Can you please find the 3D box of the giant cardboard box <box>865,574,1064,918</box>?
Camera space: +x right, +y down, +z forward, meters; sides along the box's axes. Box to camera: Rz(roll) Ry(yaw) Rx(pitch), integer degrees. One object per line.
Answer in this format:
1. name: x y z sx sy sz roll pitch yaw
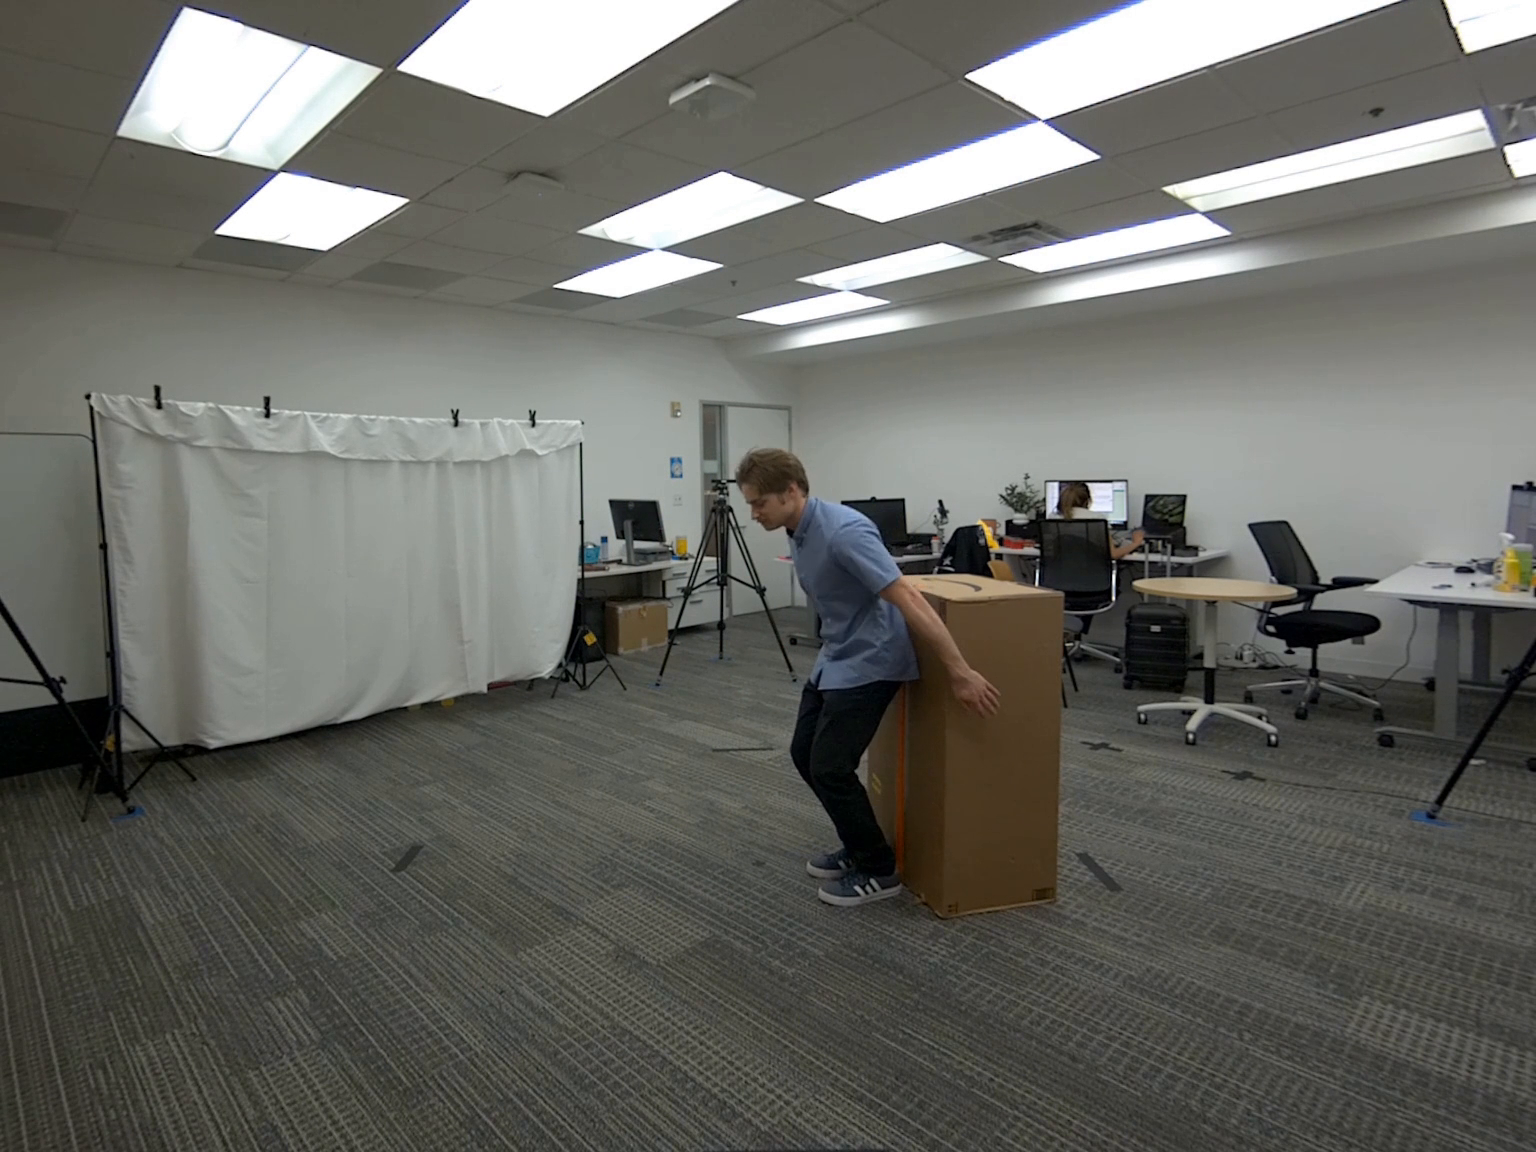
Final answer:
1. giant cardboard box: 0.661 0.543 2.985 0.440 1.023 0.595 -1 5 -18
